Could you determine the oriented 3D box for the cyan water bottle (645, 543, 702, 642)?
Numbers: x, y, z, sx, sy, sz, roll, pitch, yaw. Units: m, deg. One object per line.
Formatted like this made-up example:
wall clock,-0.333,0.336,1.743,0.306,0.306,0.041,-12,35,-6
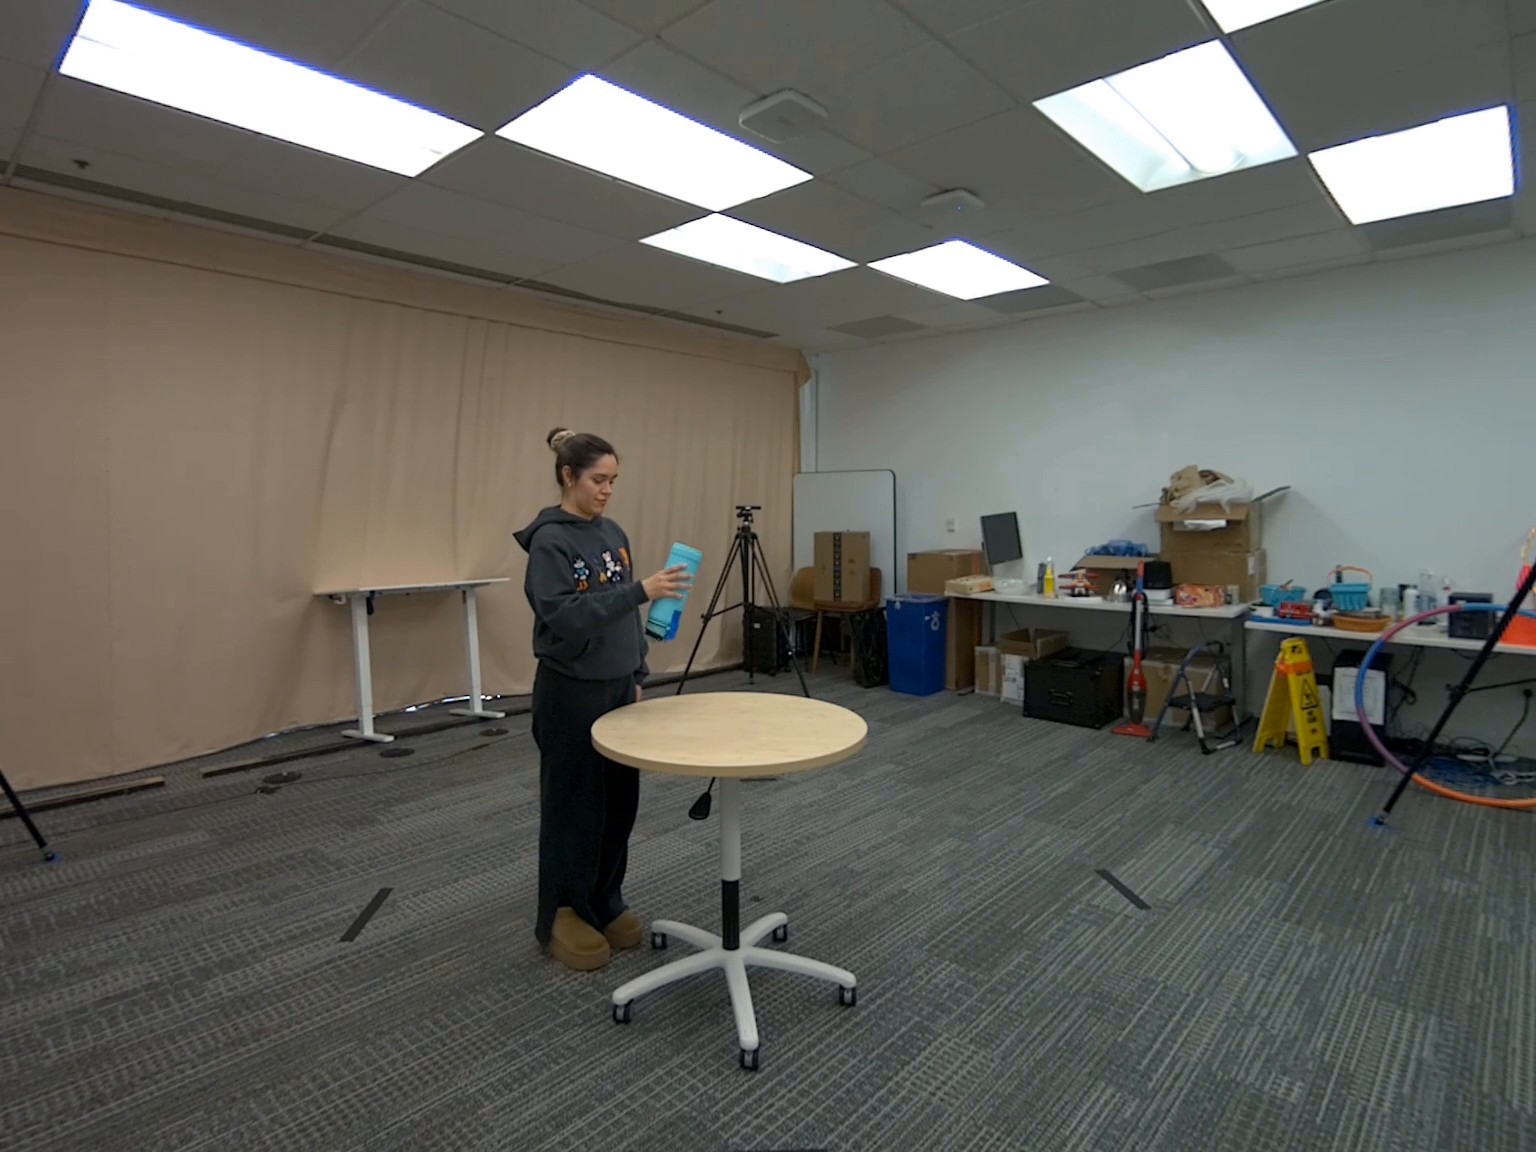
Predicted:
cyan water bottle,-0.265,0.057,2.353,0.092,0.283,0.092,19,-3,-1
